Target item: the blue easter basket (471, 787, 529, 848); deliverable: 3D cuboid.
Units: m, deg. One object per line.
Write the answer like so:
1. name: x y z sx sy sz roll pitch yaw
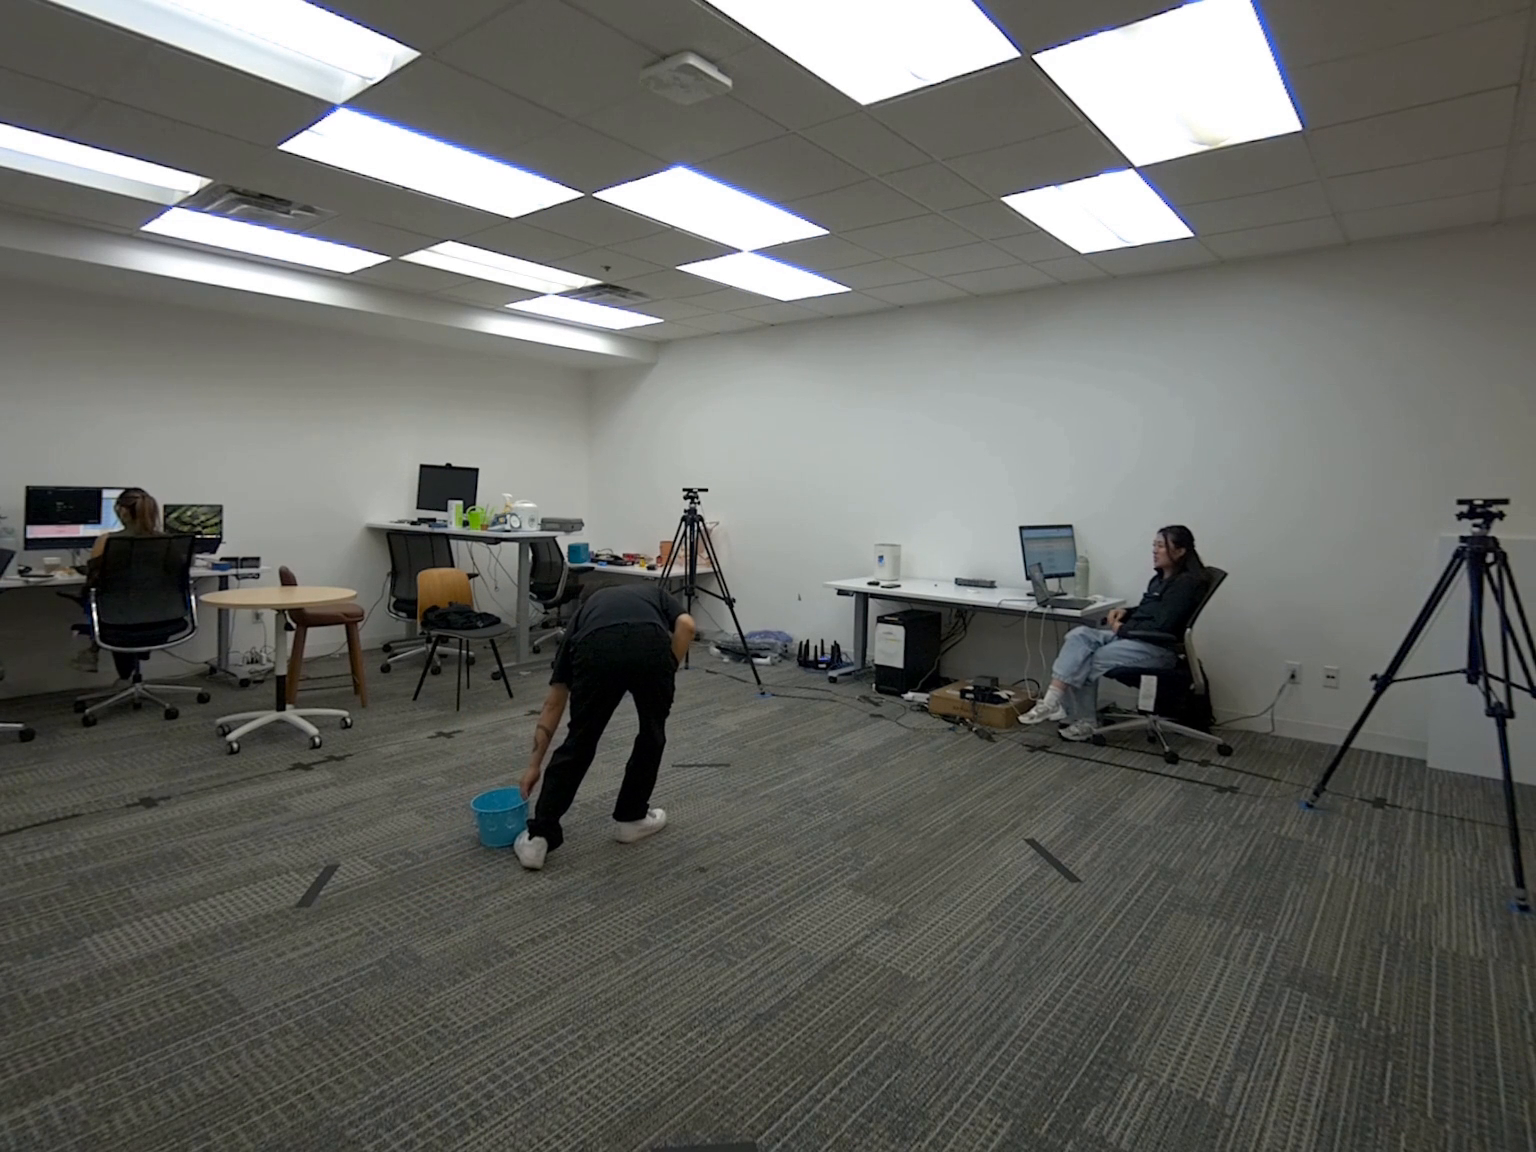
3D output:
1. blue easter basket: -1.060 0.951 3.355 0.243 0.155 0.245 -1 6 -2
